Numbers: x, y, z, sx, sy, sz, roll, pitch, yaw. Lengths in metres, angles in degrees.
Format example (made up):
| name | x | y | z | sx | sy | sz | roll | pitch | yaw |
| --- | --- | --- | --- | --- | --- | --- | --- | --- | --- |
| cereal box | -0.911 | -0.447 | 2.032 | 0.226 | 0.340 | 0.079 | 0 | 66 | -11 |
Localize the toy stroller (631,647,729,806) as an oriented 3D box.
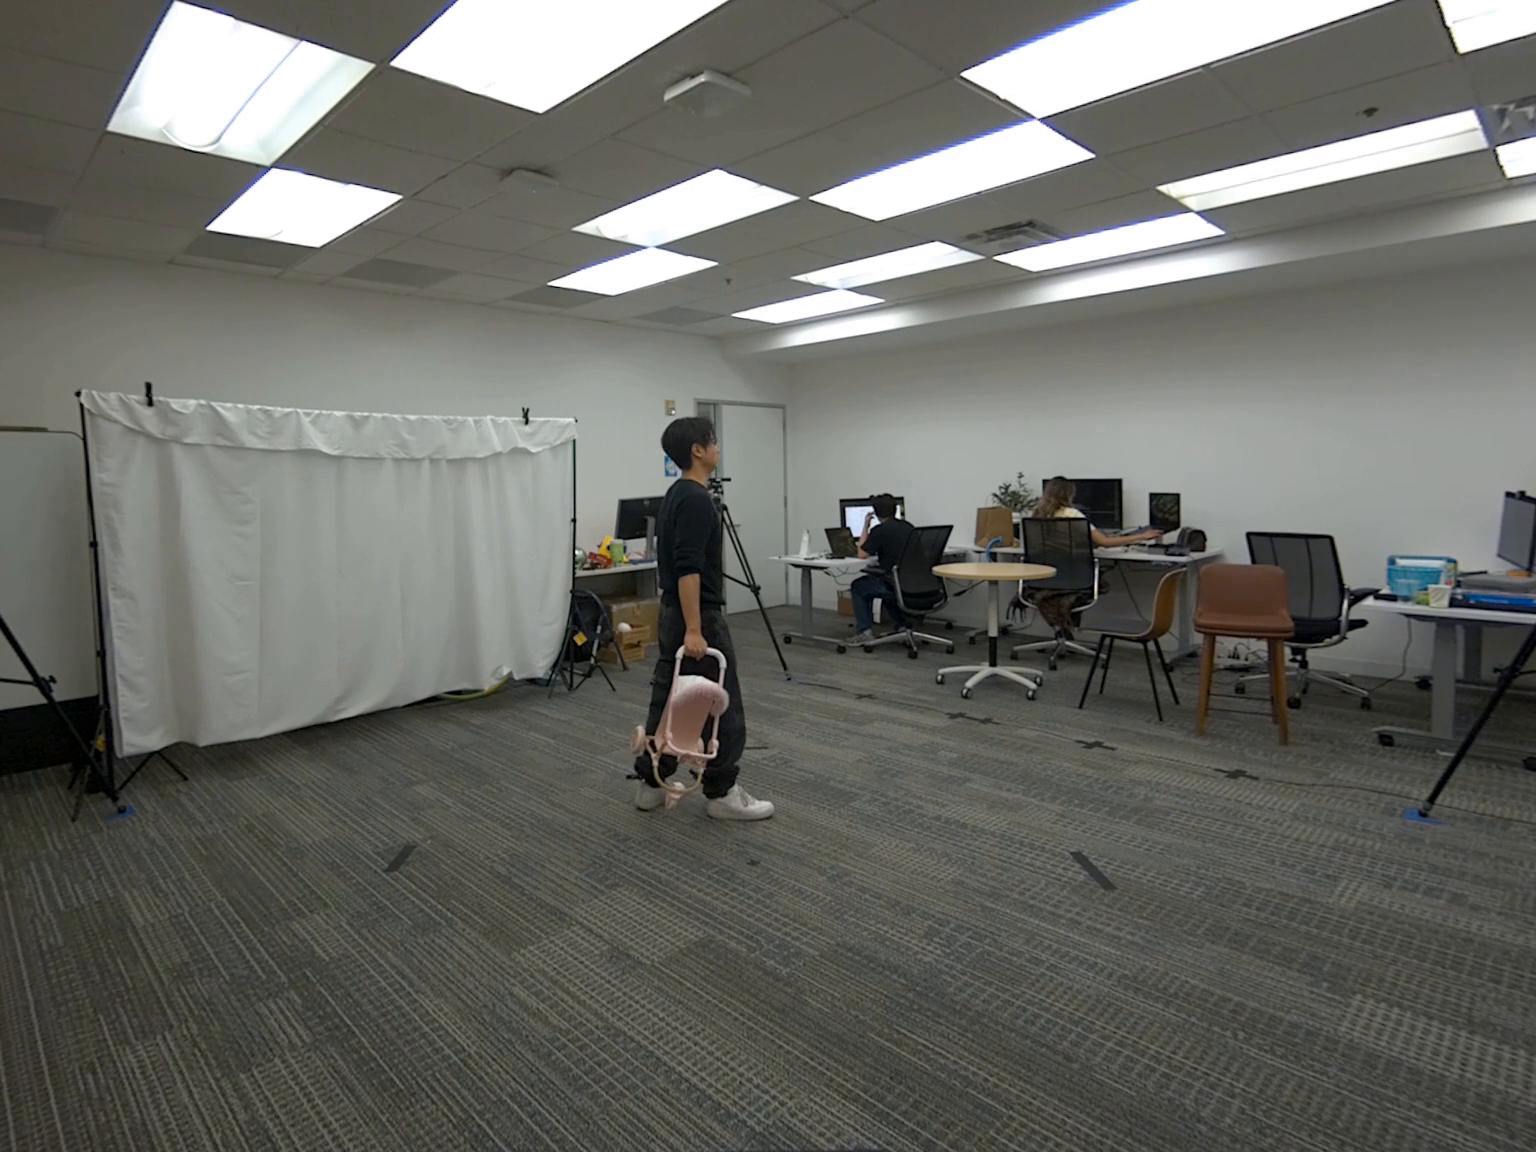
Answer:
| name | x | y | z | sx | sy | sz | roll | pitch | yaw |
| --- | --- | --- | --- | --- | --- | --- | --- | --- | --- |
| toy stroller | -0.309 | 0.582 | 3.224 | 0.275 | 0.531 | 0.352 | 16 | 19 | -21 |
